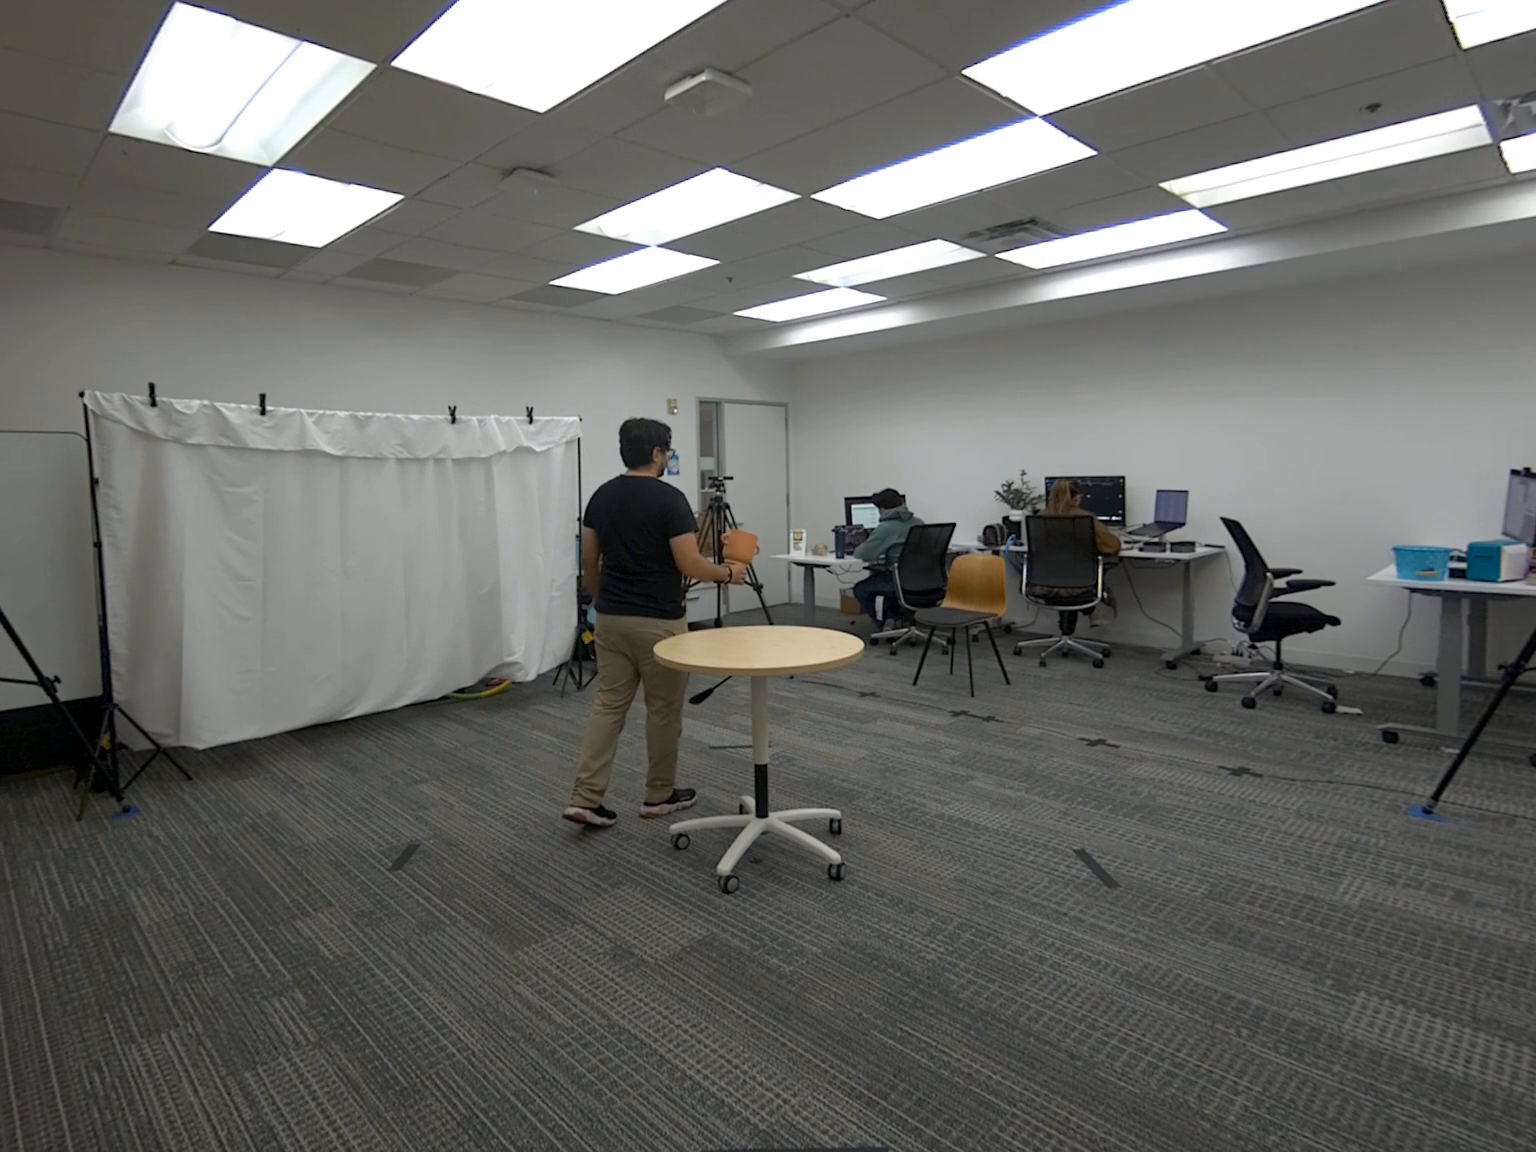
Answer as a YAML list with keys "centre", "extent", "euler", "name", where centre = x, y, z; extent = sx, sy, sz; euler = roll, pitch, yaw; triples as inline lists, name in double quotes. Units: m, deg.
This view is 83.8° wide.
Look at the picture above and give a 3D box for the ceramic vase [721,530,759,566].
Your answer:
- centre: [-0.141, -0.076, 3.683]
  extent: [0.161, 0.221, 0.132]
  euler: [12, -11, 10]
  name: "ceramic vase"
